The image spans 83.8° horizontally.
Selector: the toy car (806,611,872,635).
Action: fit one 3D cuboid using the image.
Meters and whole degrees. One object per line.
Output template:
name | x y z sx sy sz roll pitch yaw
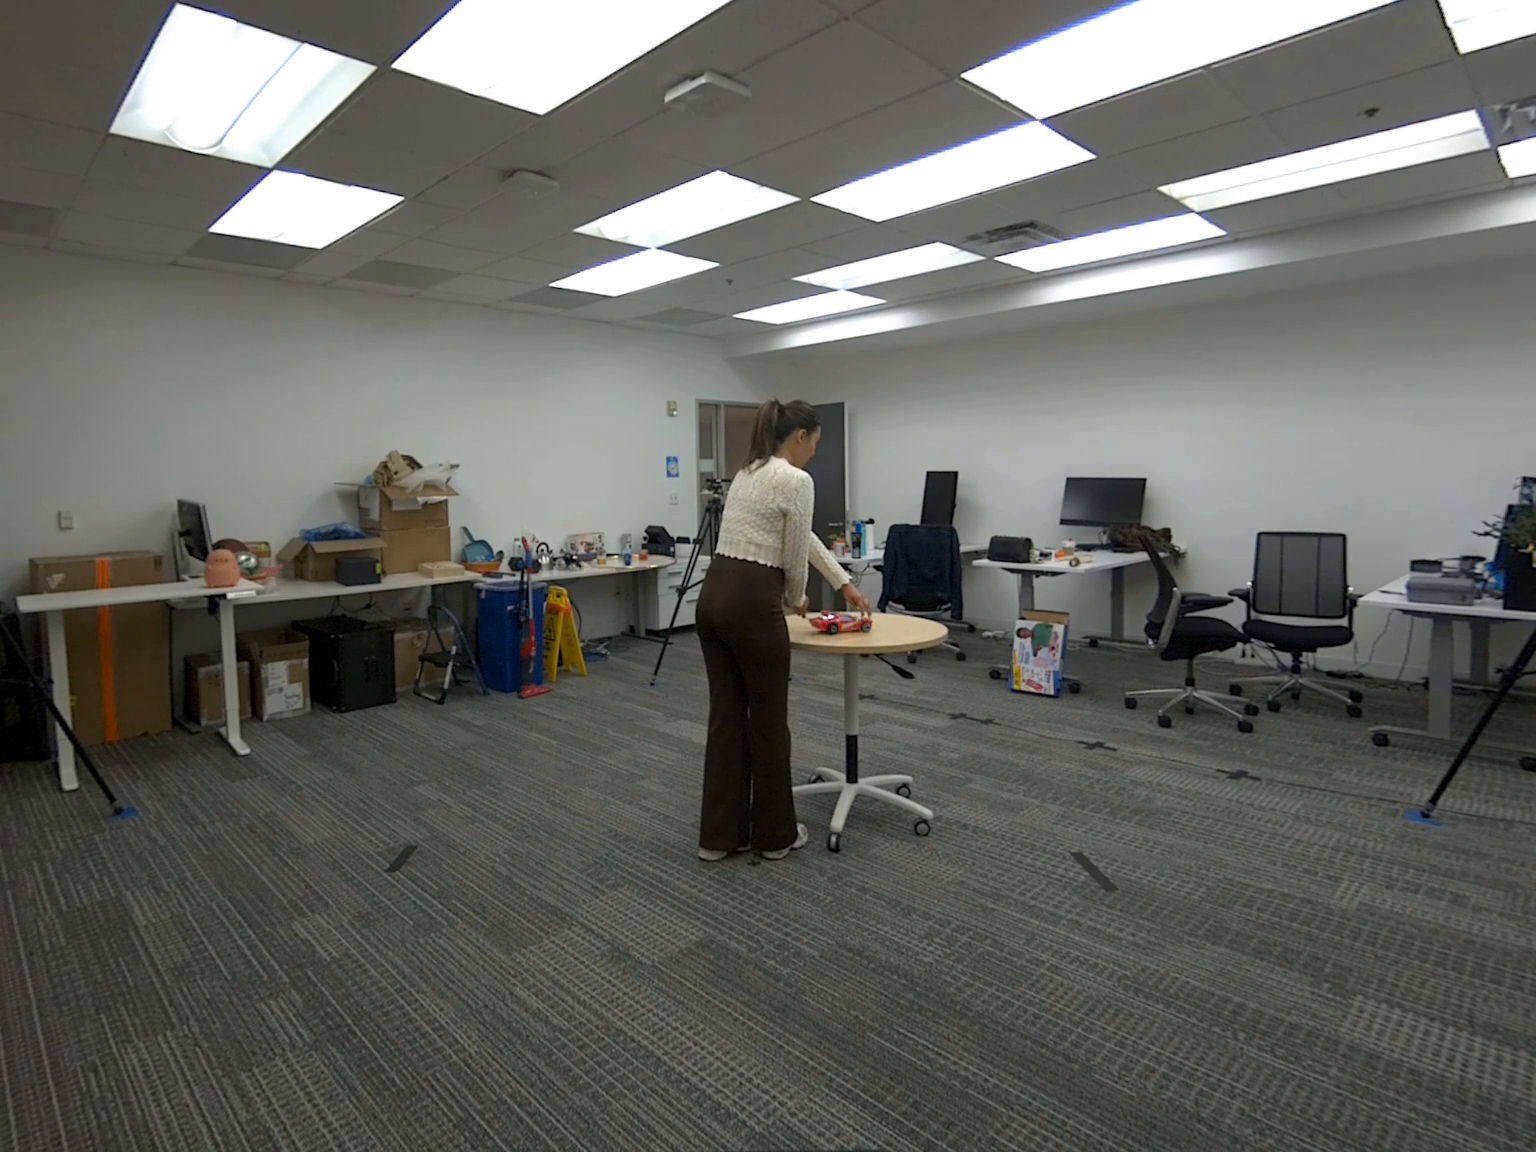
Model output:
toy car | 0.285 0.189 3.393 0.250 0.083 0.133 9 3 -18
